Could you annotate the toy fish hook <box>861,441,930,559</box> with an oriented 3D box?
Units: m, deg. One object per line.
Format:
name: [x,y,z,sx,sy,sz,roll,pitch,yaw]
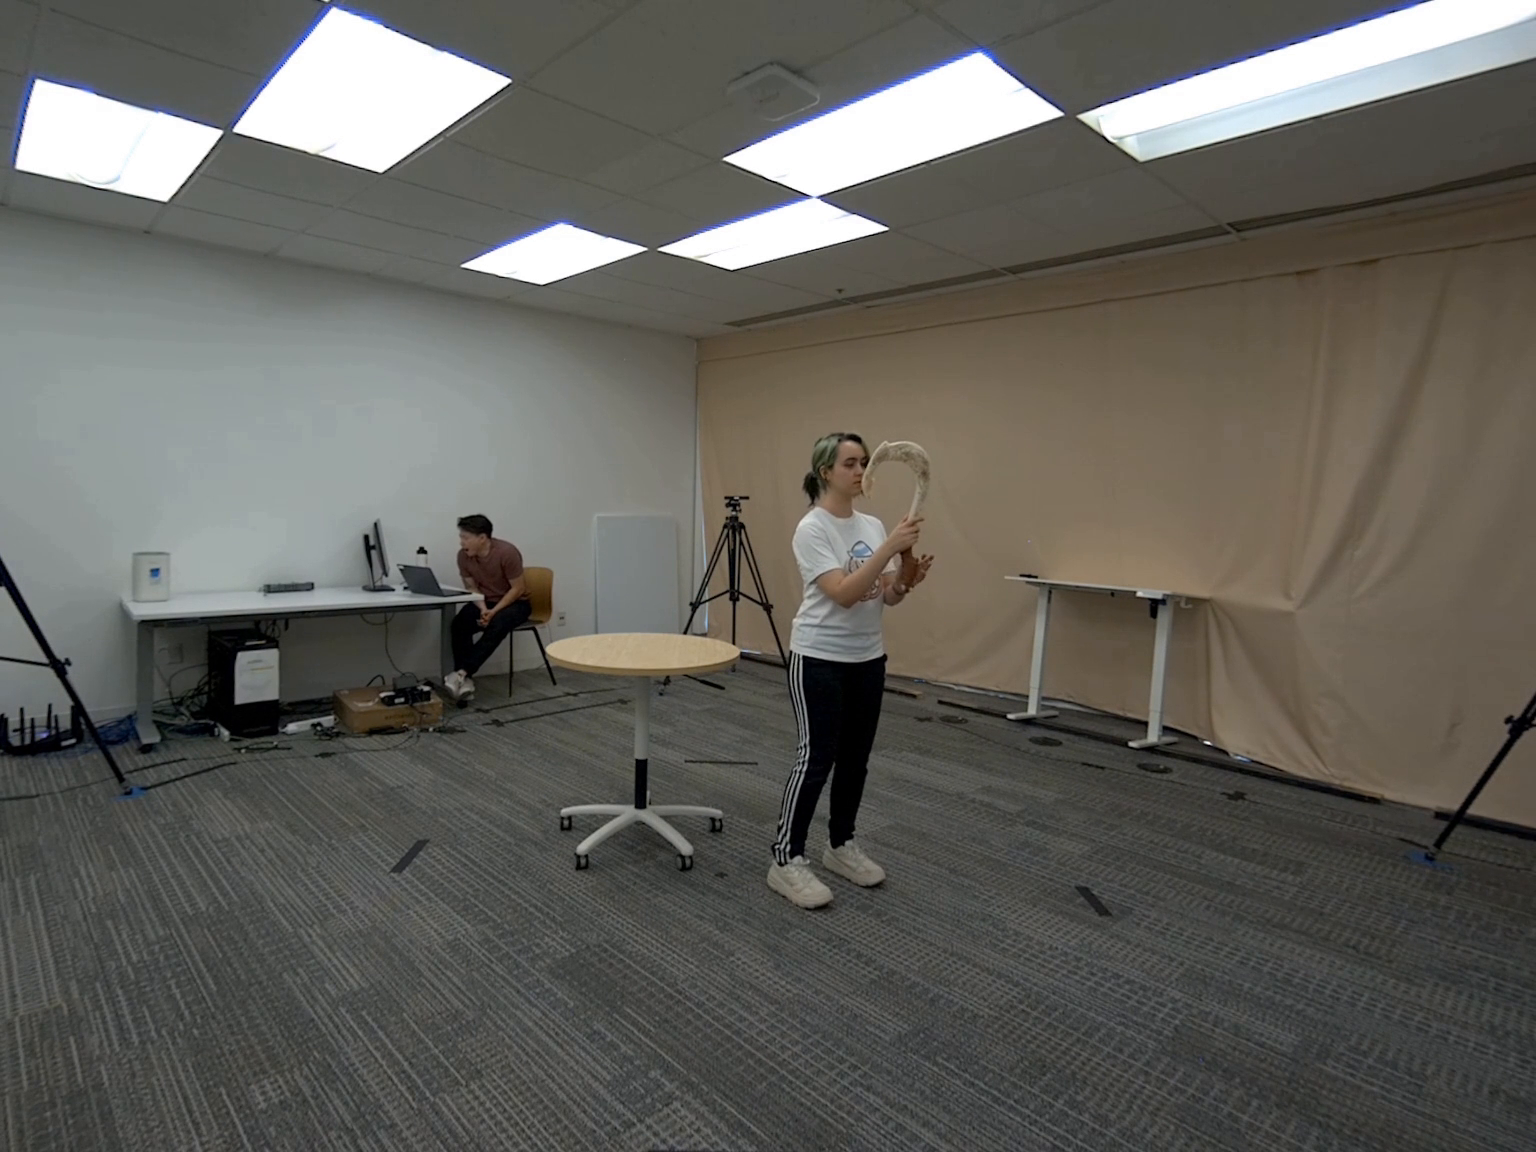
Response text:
toy fish hook: [0.412,-0.192,2.789,0.226,0.503,0.048,3,8,8]
